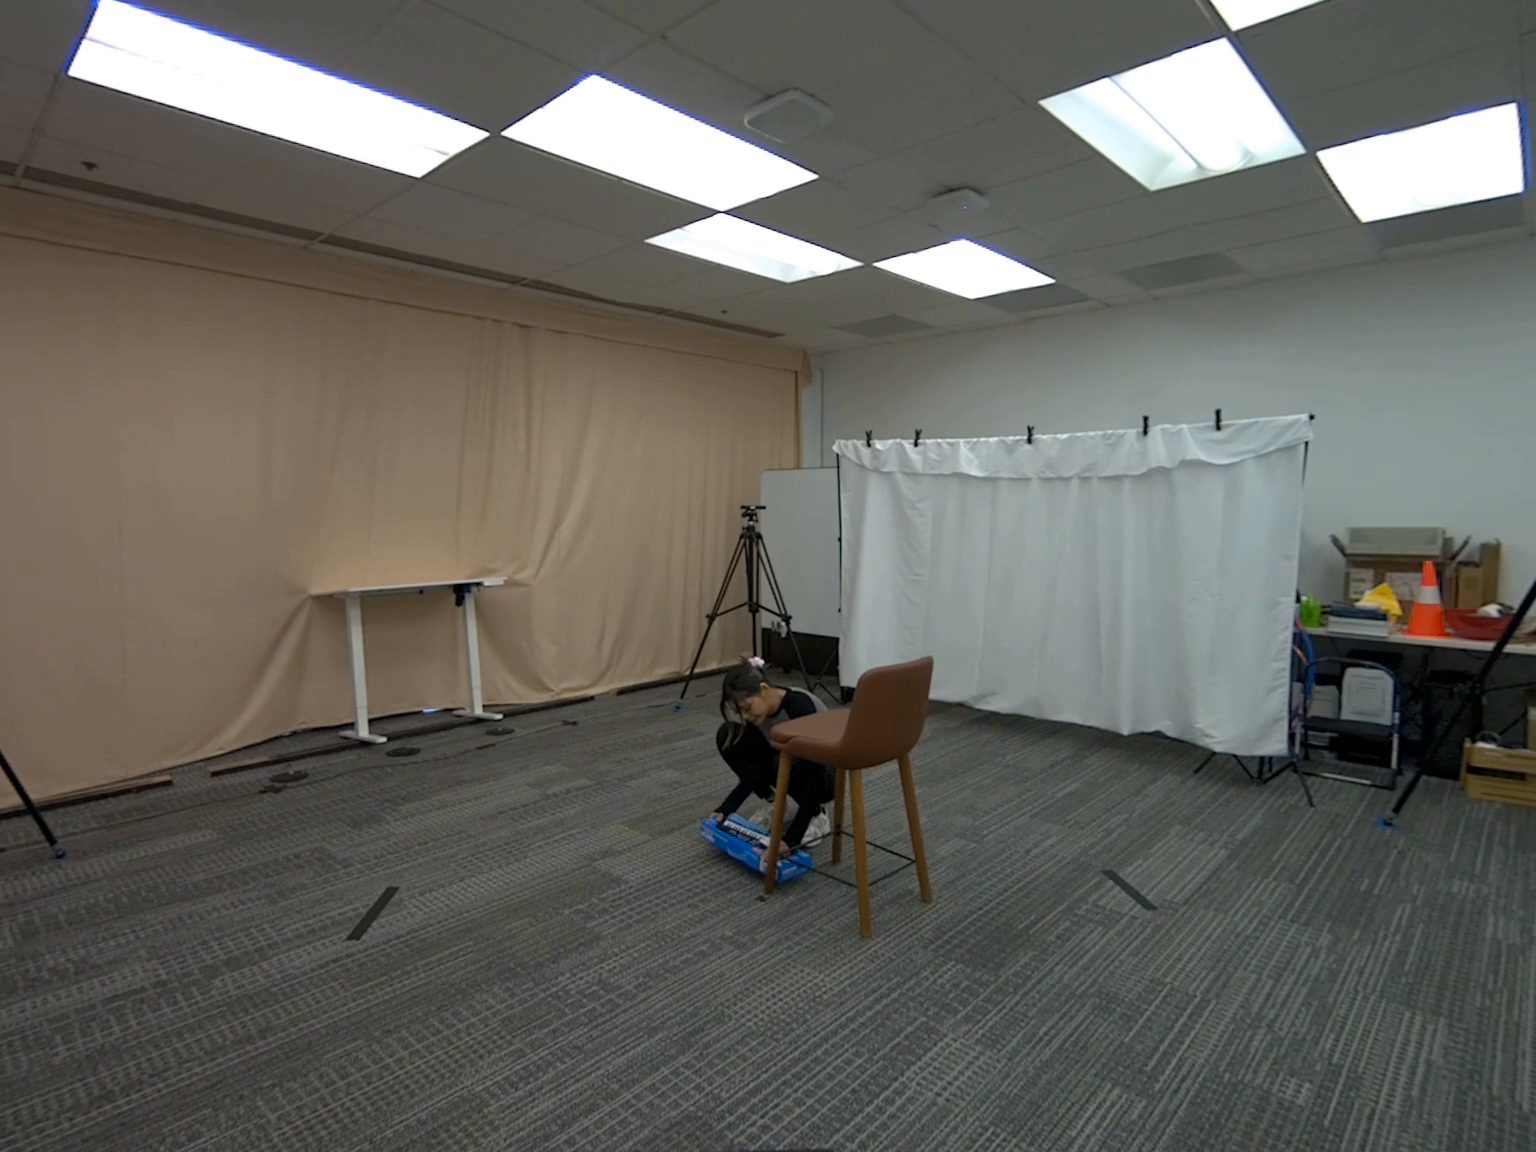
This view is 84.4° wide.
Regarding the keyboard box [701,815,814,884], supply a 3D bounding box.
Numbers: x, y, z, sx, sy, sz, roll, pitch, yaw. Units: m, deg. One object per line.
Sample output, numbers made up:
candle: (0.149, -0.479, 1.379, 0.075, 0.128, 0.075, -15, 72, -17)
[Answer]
keyboard box: (-0.048, 1.026, 3.243, 0.170, 0.059, 0.453, -3, 12, -42)
